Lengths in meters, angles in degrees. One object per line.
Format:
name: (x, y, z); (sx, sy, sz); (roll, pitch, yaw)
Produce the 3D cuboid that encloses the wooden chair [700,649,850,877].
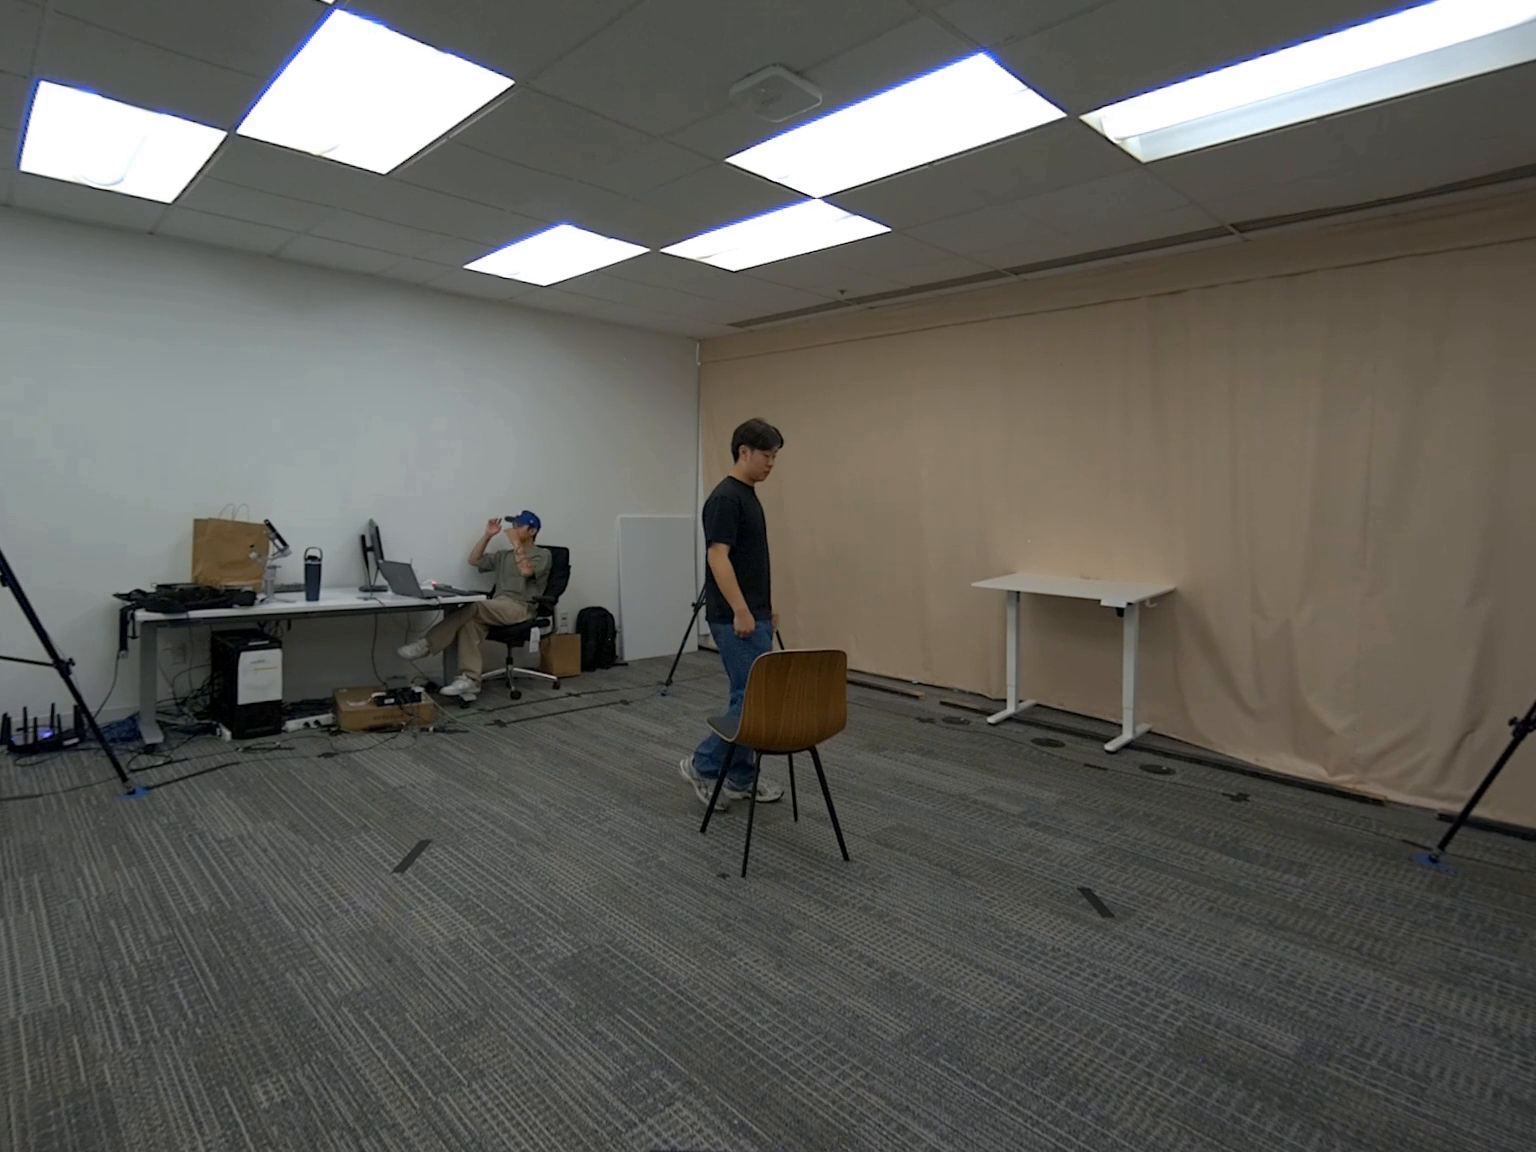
wooden chair: (0.025, 0.661, 3.356); (0.470, 0.873, 0.535); (0, 7, -24)
